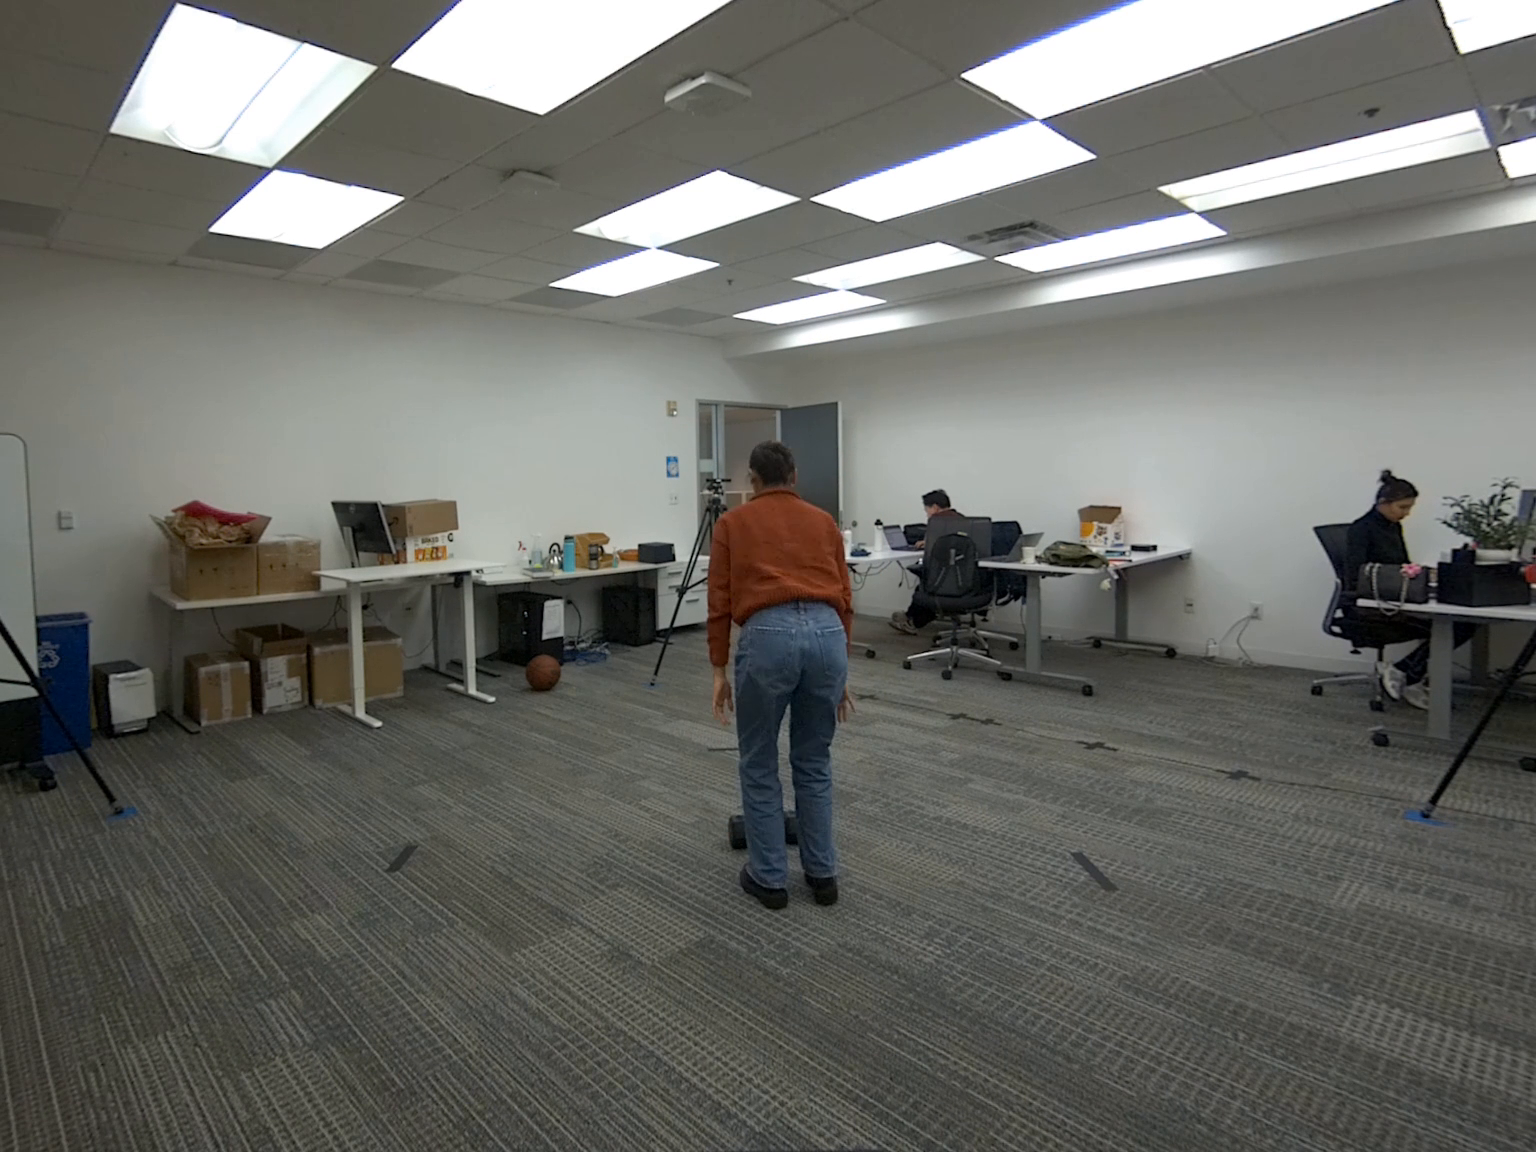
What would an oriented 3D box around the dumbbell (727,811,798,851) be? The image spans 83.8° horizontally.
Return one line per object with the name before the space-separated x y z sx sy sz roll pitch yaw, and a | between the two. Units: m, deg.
dumbbell | 0.000 0.972 3.274 0.291 0.108 0.125 -1 7 -10
